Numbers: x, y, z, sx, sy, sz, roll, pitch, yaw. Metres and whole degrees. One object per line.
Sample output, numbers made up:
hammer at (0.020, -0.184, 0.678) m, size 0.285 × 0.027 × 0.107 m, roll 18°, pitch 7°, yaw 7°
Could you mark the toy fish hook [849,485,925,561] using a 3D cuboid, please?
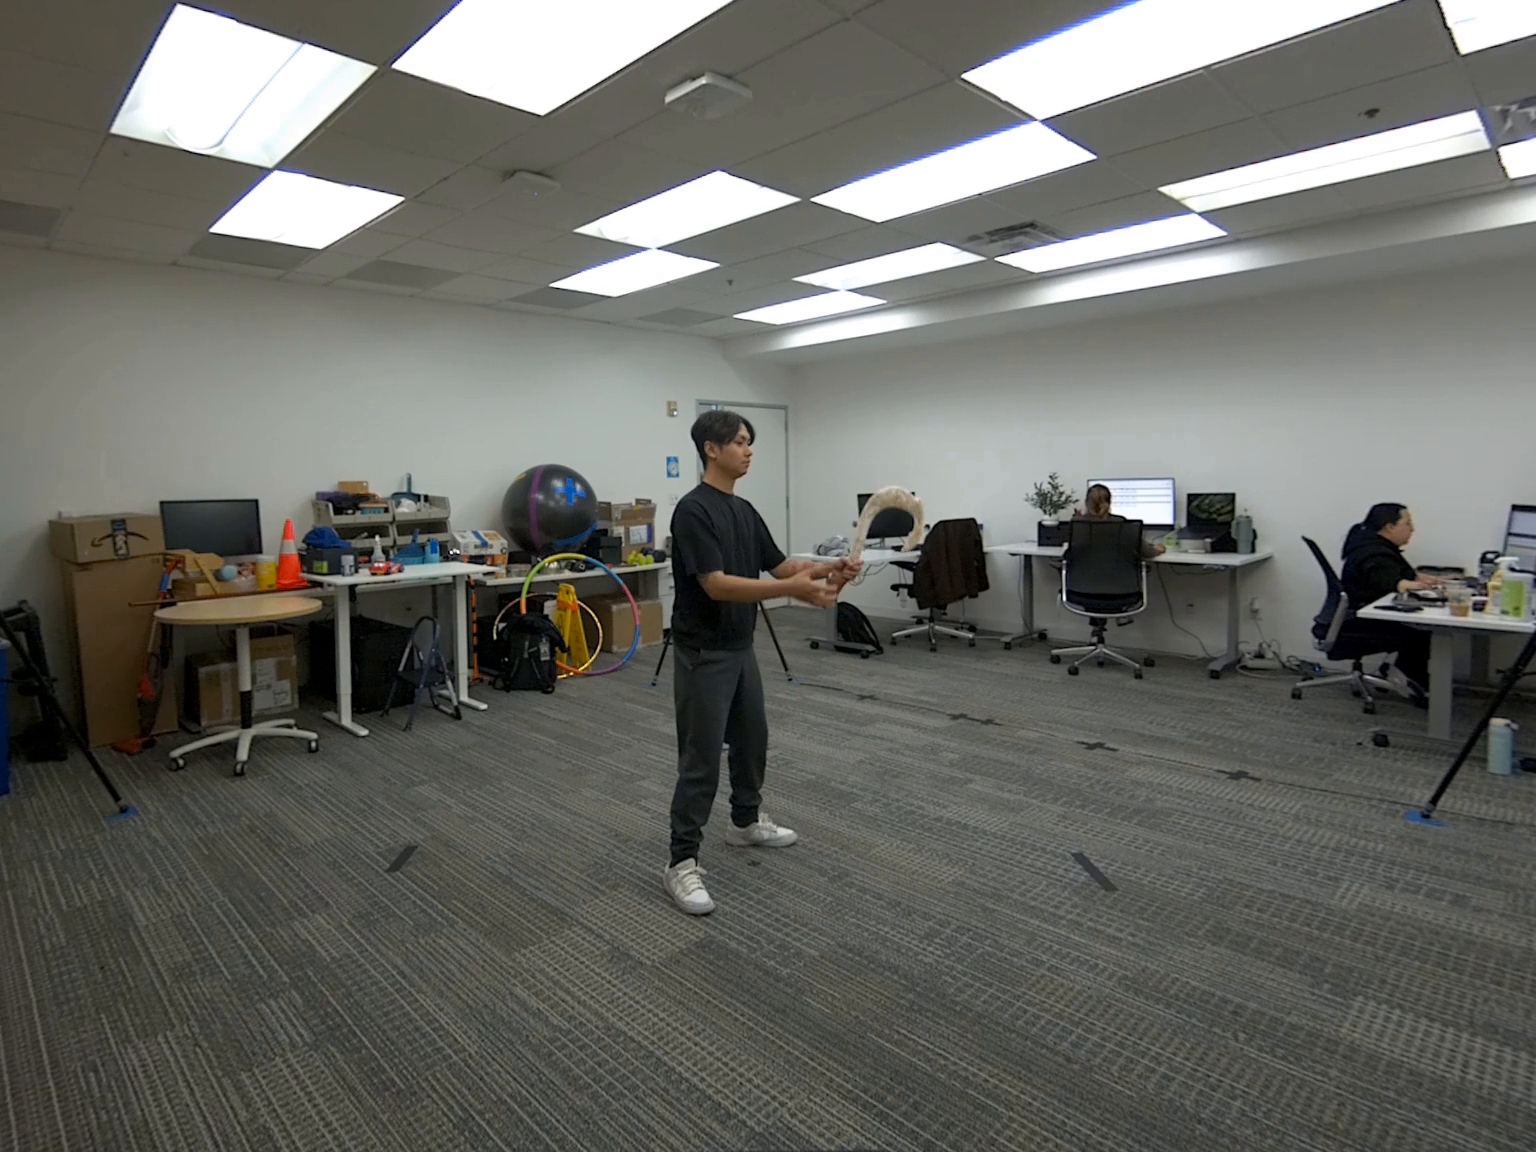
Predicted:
toy fish hook at (0.347, -0.049, 2.989) m, size 0.231 × 0.506 × 0.047 m, roll 35°, pitch 6°, yaw 22°
